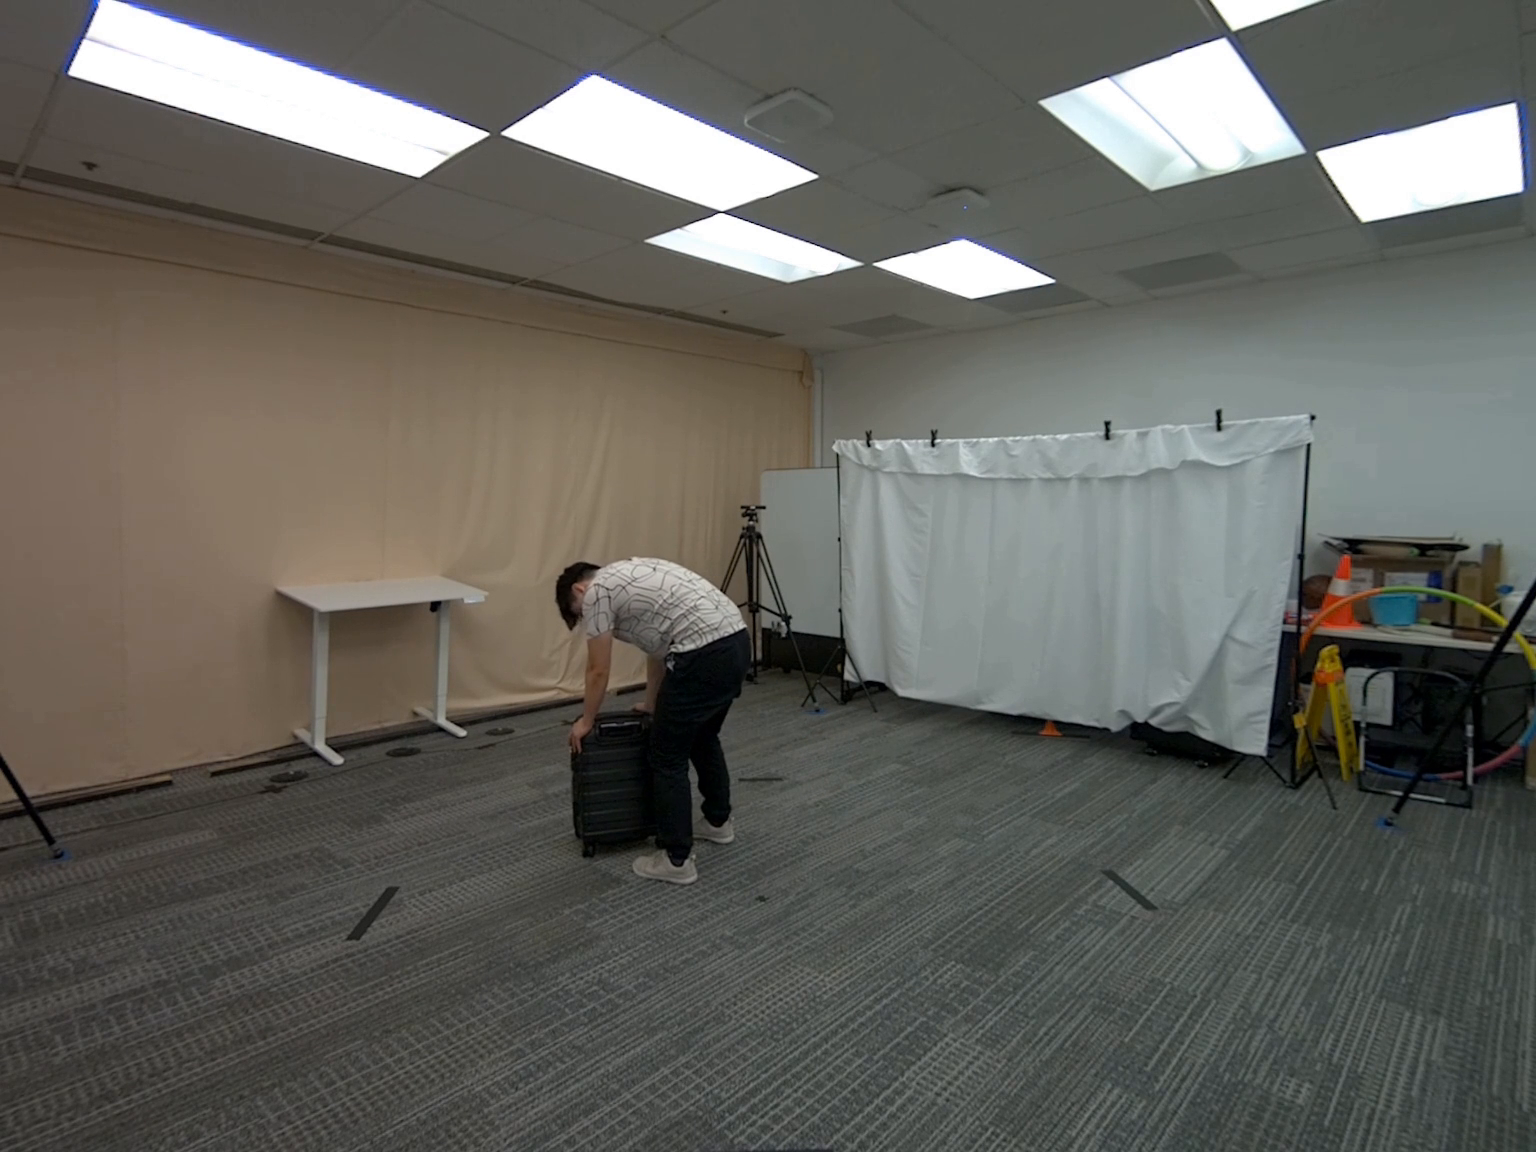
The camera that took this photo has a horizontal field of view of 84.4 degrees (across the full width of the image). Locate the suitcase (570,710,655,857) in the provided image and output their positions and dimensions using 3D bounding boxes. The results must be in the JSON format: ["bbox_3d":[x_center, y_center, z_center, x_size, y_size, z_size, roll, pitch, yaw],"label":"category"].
[{"bbox_3d":[-0.625,0.832,3.465,0.369,0.548,0.253,-3,4,-16],"label":"suitcase"}]
